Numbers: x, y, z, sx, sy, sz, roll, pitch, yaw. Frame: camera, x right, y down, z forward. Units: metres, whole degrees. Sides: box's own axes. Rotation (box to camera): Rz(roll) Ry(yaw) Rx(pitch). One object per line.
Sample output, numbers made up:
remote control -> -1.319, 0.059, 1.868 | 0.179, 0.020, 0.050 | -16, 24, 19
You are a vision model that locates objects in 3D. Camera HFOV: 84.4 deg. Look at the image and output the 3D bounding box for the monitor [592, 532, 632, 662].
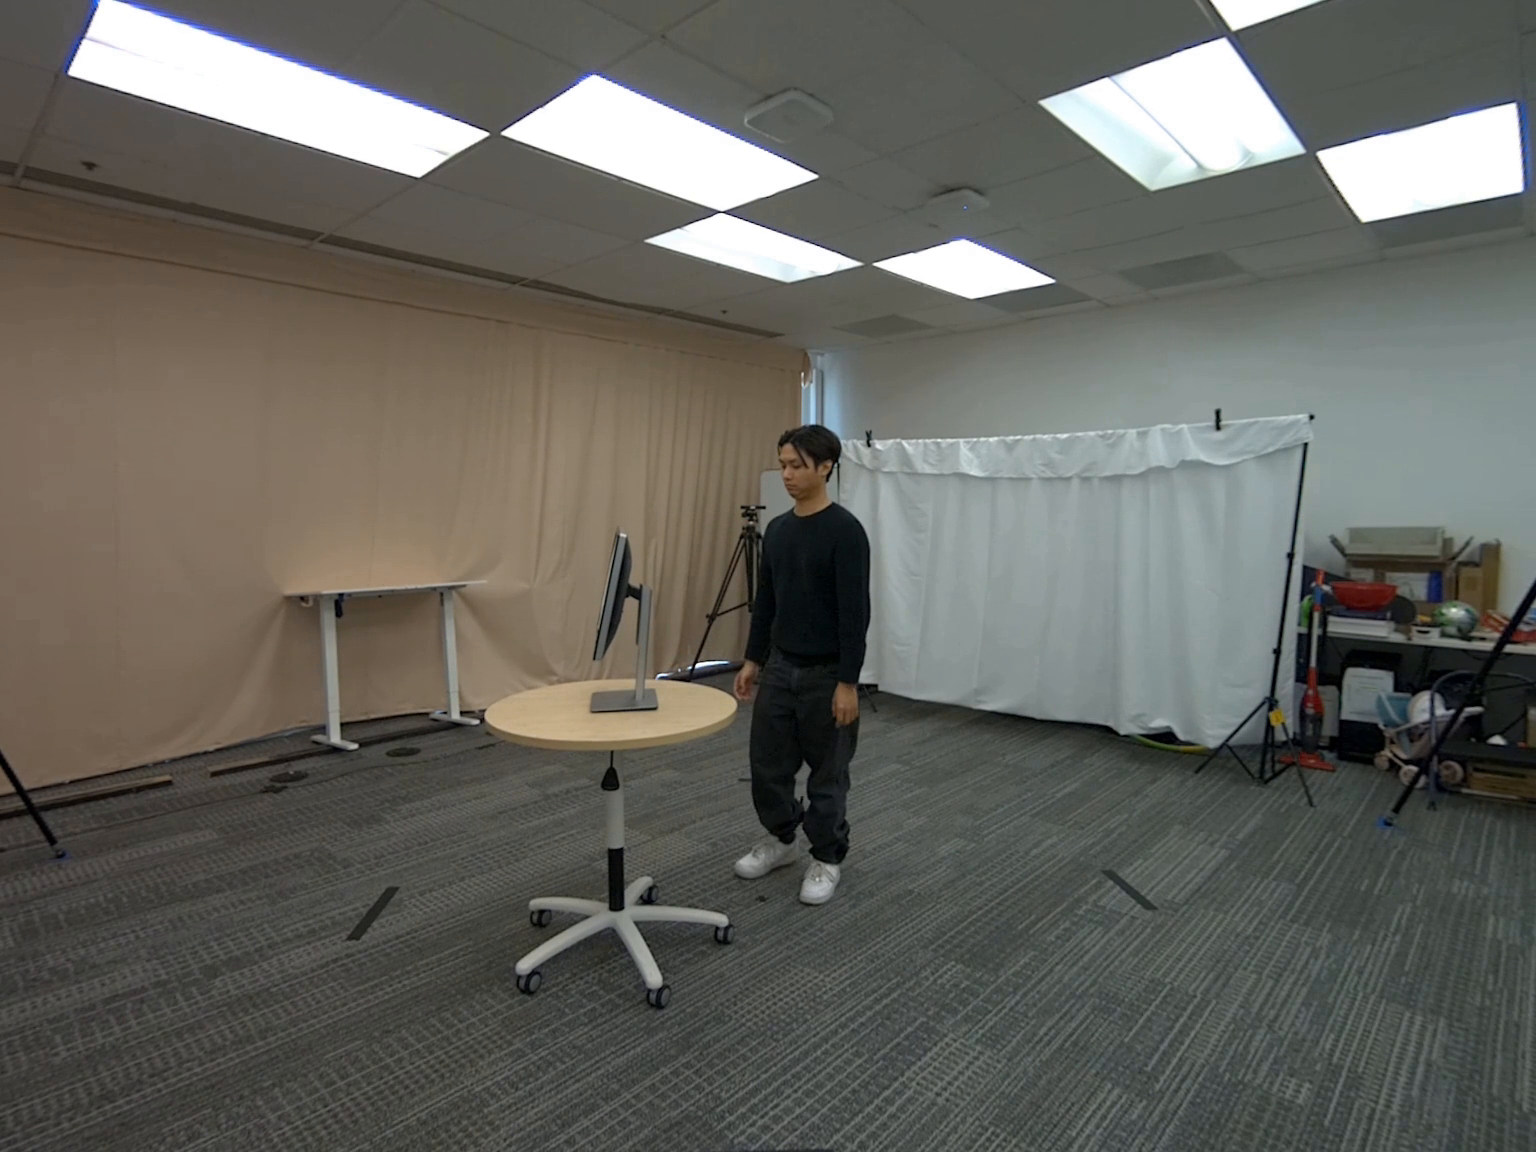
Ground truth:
monitor -> -0.453, 0.129, 2.621 | 0.173, 0.514, 0.537 | -5, 5, -11
